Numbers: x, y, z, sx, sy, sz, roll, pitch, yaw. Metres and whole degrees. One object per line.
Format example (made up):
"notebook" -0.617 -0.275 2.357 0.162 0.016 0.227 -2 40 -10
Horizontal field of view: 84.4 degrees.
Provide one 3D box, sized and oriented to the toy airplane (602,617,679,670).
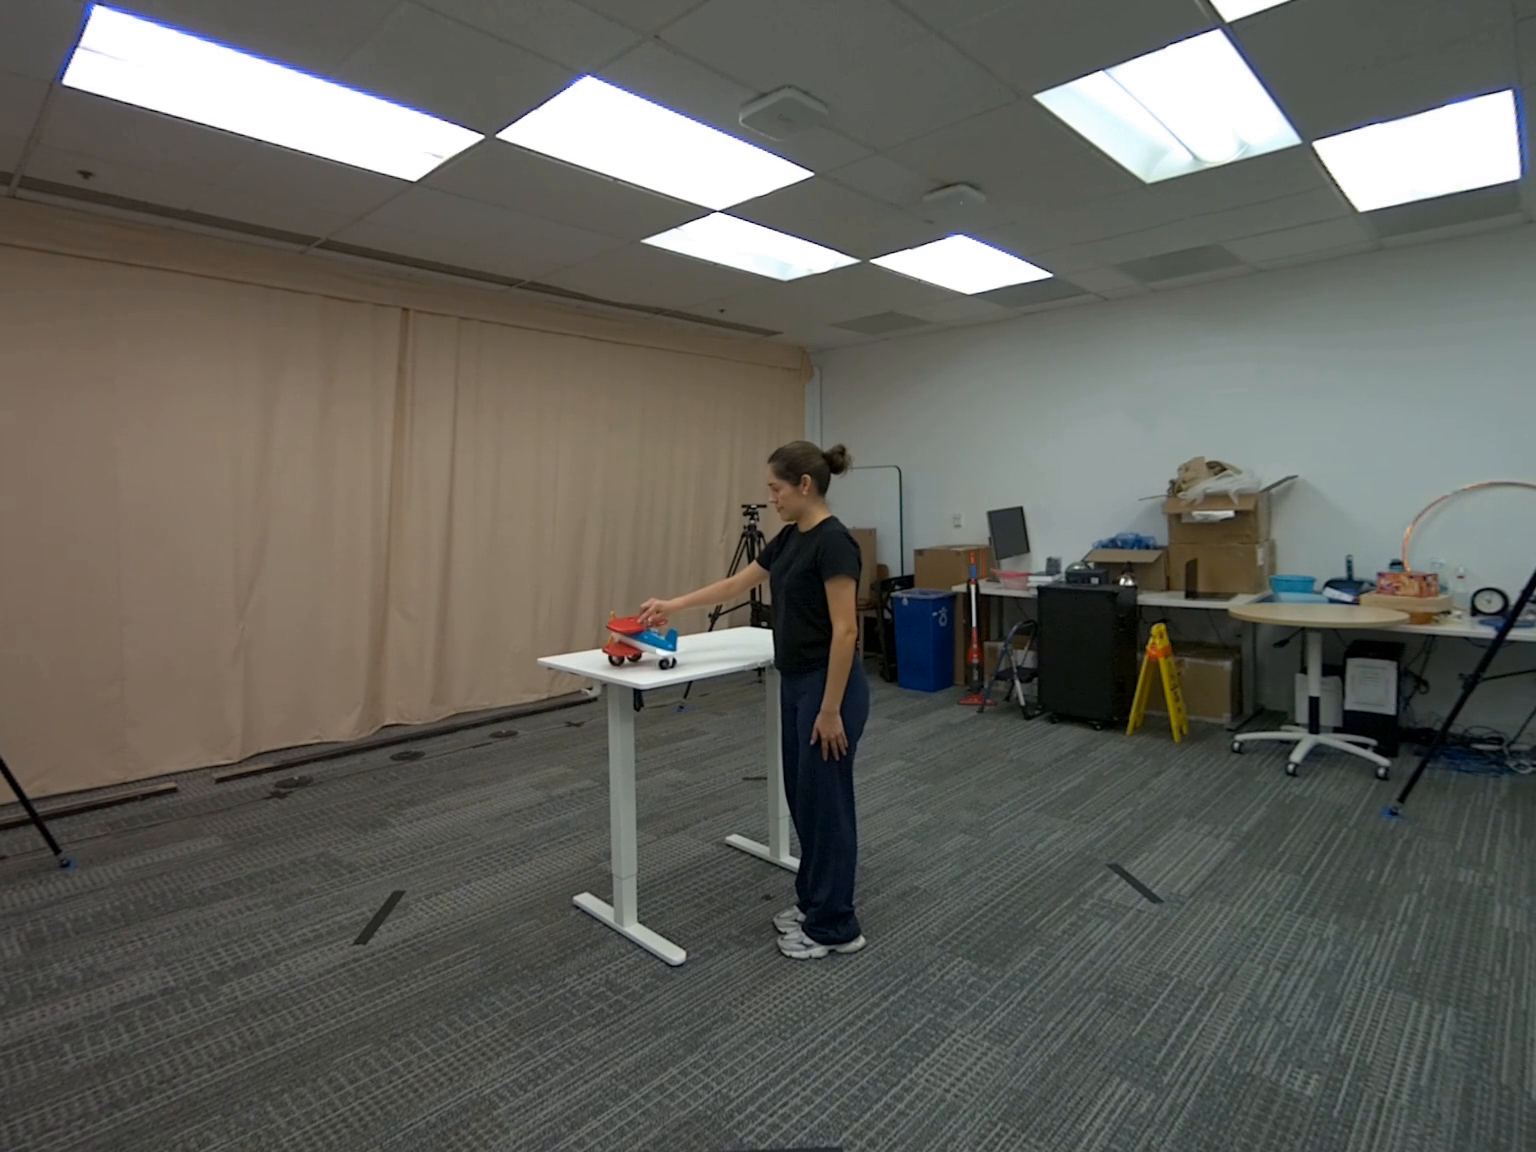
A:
"toy airplane" -0.371 0.213 2.724 0.260 0.156 0.250 -2 4 4
